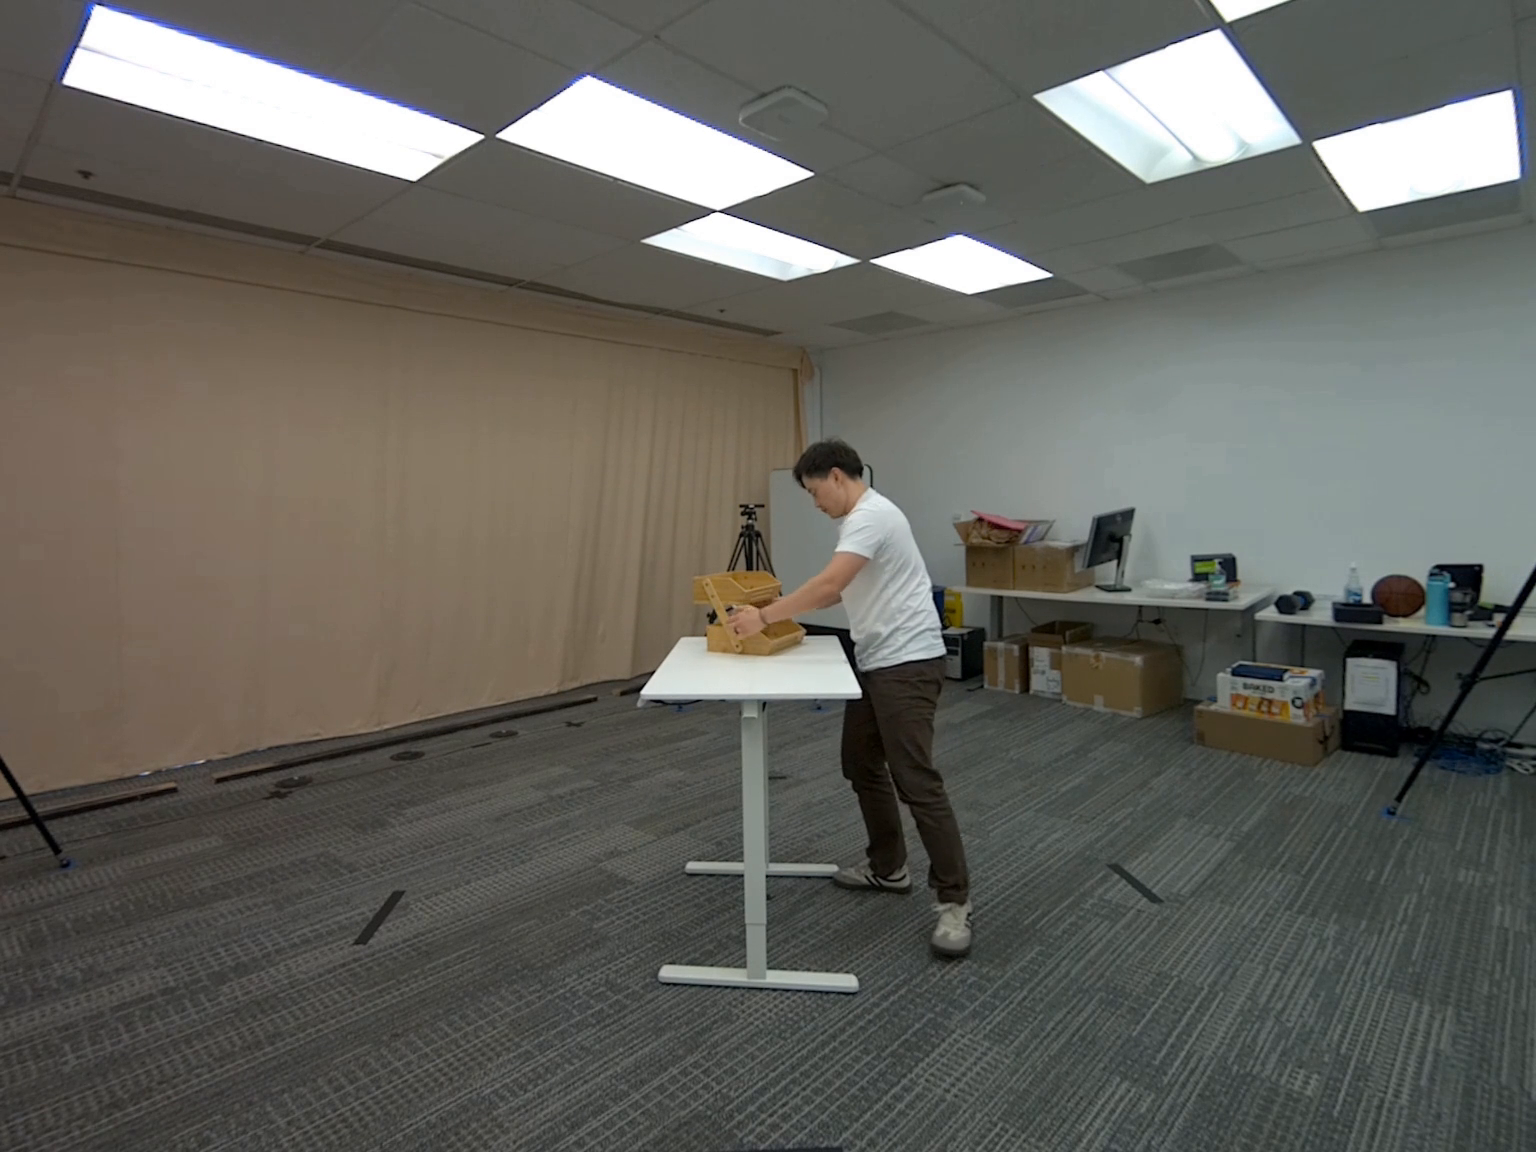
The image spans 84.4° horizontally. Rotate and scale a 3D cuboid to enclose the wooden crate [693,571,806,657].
[{"bbox_3d":[-0.056,0.127,3.022,0.310,0.273,0.316,0,4,27],"label":"wooden crate"}]
